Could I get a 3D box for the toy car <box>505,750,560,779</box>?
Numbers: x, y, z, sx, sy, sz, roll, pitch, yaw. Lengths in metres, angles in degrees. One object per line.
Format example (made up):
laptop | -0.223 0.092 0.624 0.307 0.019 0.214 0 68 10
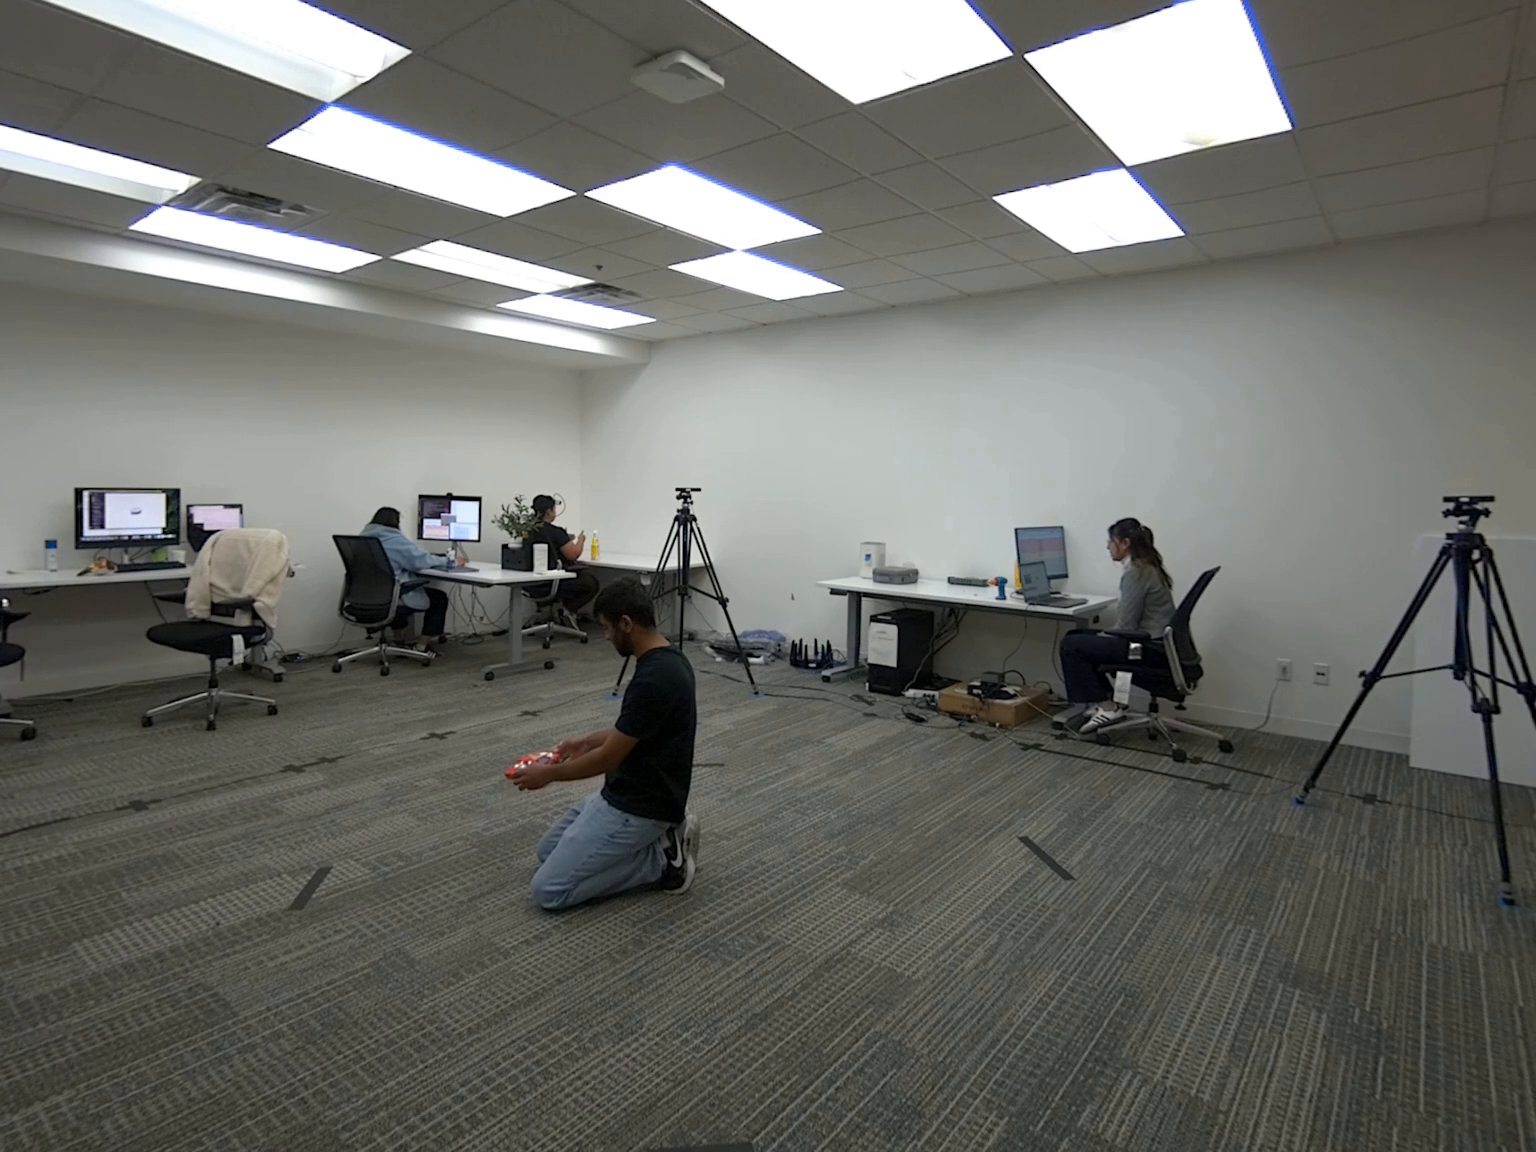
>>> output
toy car | -0.878 0.703 3.130 0.133 0.083 0.248 -1 -2 20
